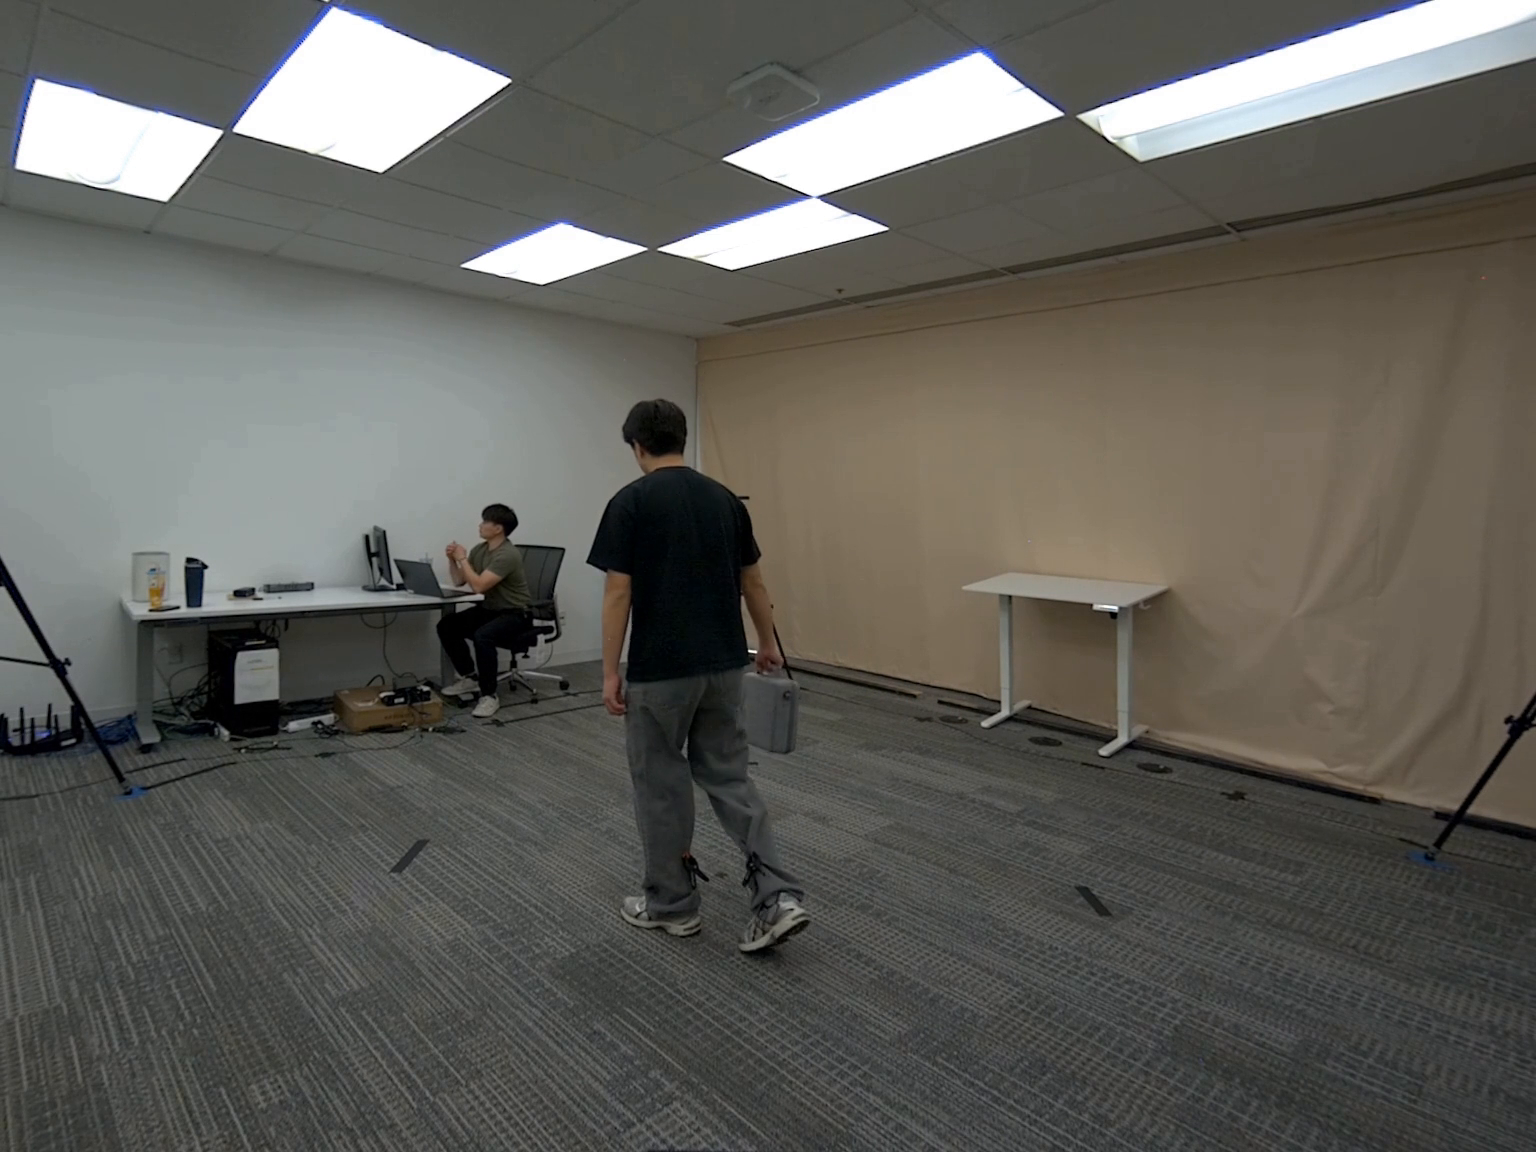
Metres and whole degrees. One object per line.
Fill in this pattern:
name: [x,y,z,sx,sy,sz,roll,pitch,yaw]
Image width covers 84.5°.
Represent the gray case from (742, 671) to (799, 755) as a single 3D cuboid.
gray case: [-0.004,0.470,2.970,0.101,0.287,0.268,4,-1,-29]
